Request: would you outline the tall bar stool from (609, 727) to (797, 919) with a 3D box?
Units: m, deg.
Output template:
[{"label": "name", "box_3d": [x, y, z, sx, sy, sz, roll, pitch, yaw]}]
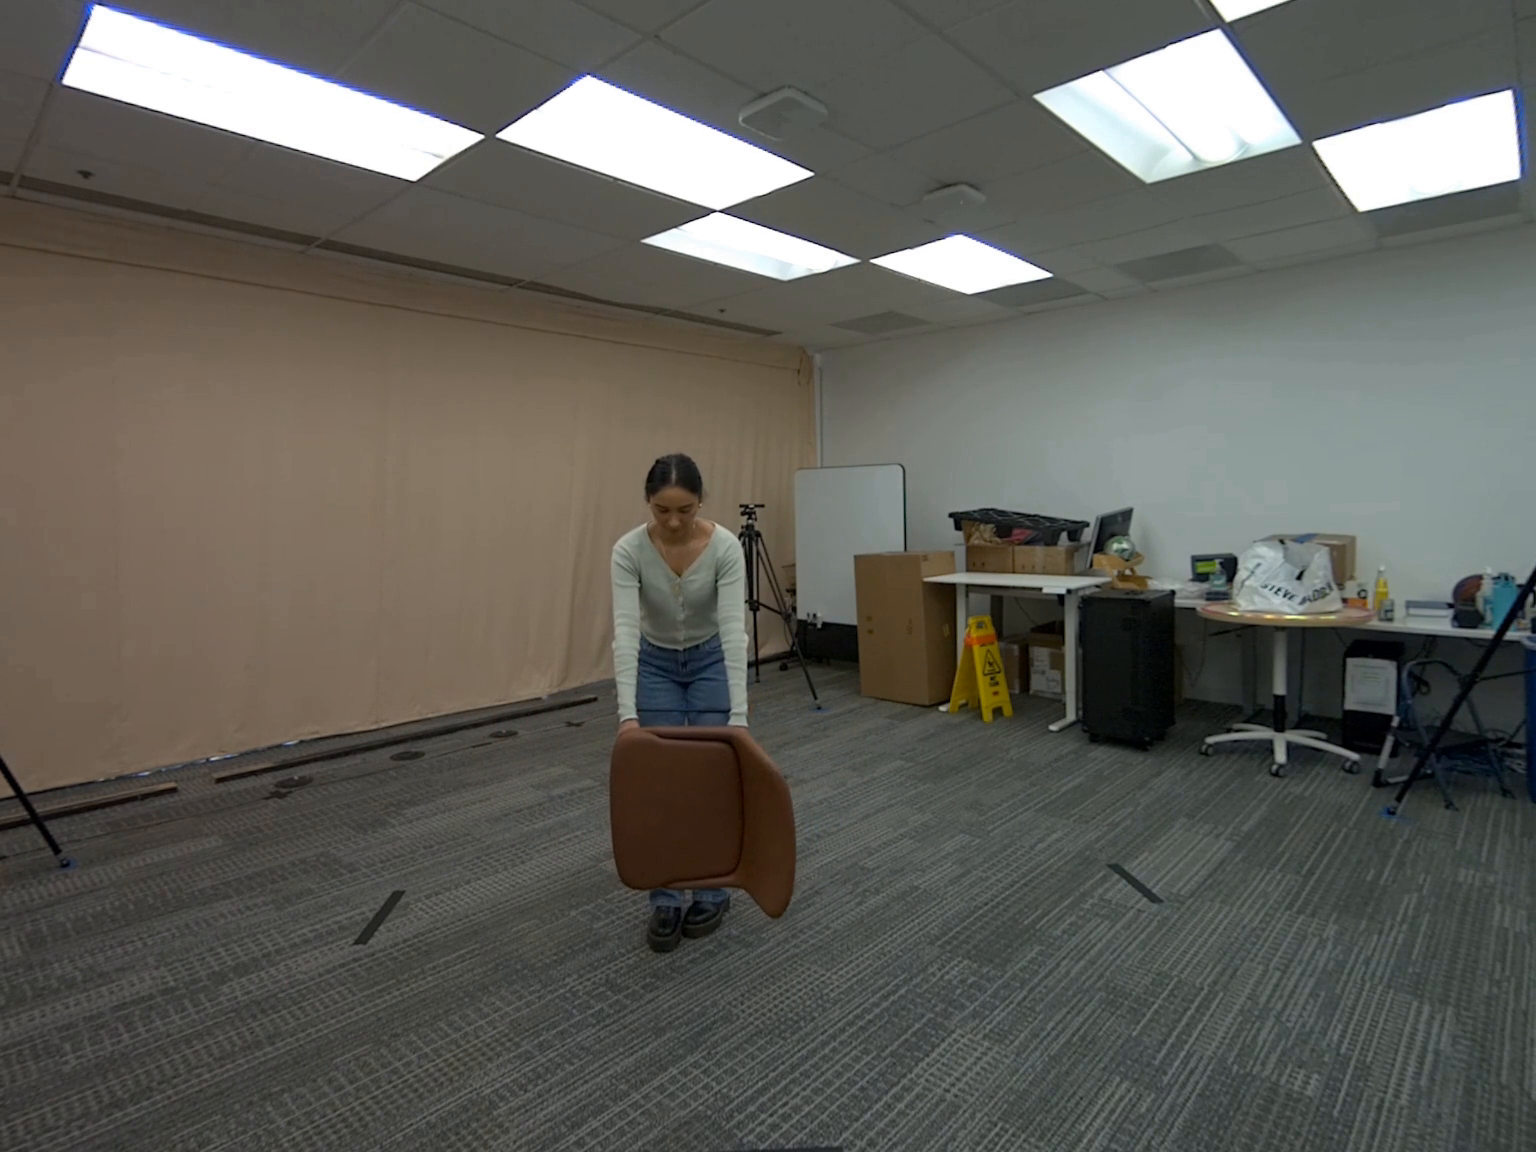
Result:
[{"label": "tall bar stool", "box_3d": [-0.224, 0.636, 2.479, 0.464, 0.455, 0.898, -1, 5, -8]}]
